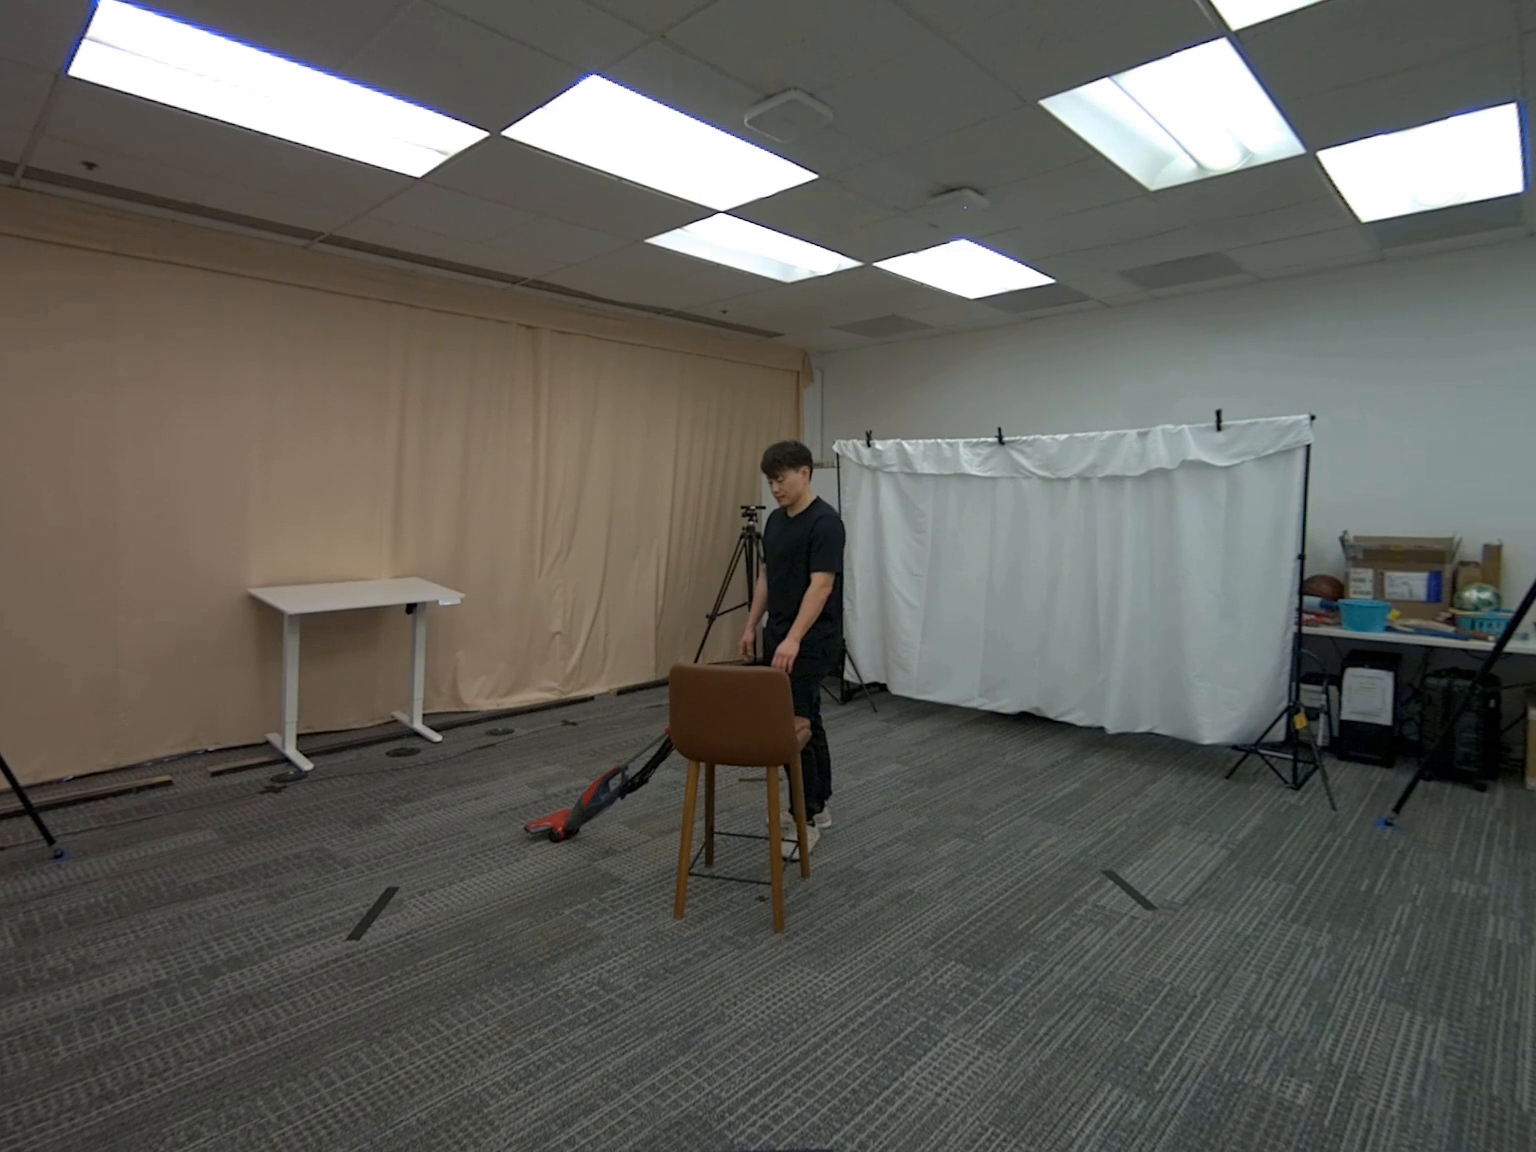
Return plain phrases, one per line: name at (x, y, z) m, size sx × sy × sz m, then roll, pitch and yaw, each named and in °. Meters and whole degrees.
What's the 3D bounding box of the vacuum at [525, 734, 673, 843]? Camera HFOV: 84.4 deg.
vacuum at (-0.561, 0.790, 3.309) m, size 1.061 × 0.146 × 0.246 m, roll -39°, pitch -16°, yaw 32°
